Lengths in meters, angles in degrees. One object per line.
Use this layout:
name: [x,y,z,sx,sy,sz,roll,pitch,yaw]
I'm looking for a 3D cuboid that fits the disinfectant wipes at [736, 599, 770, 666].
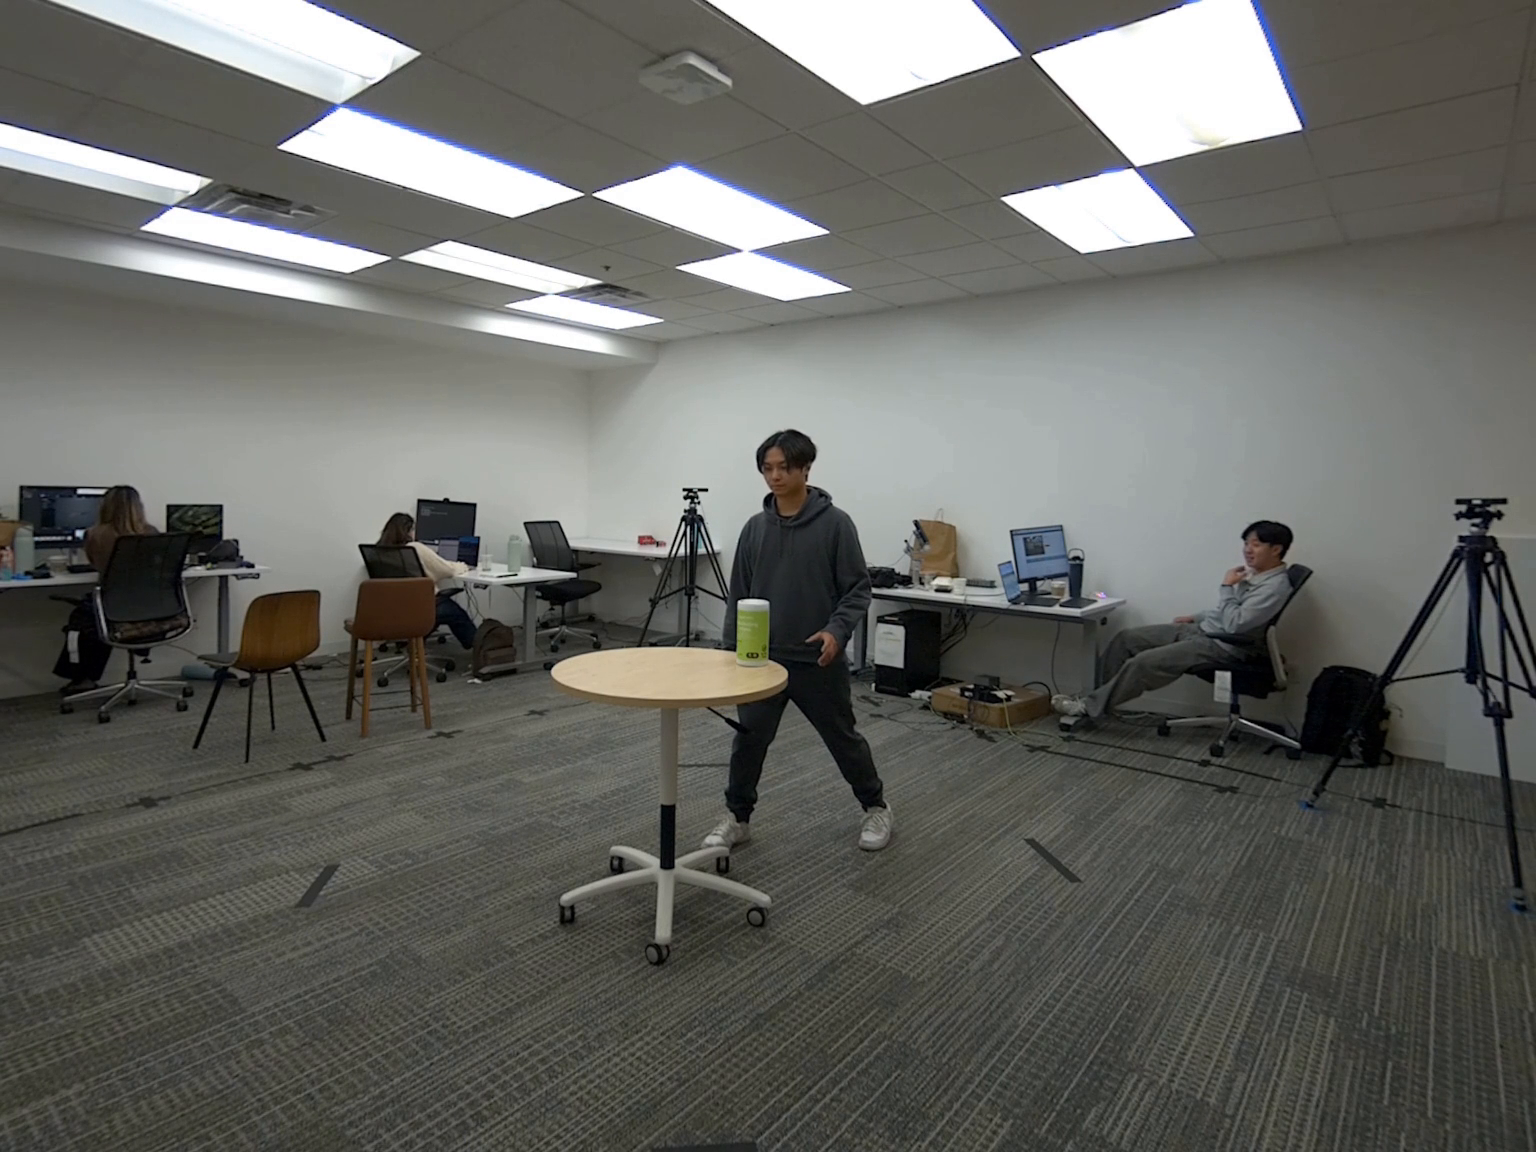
disinfectant wipes: [-0.053,0.181,2.888,0.117,0.216,0.118,4,5,-2]
